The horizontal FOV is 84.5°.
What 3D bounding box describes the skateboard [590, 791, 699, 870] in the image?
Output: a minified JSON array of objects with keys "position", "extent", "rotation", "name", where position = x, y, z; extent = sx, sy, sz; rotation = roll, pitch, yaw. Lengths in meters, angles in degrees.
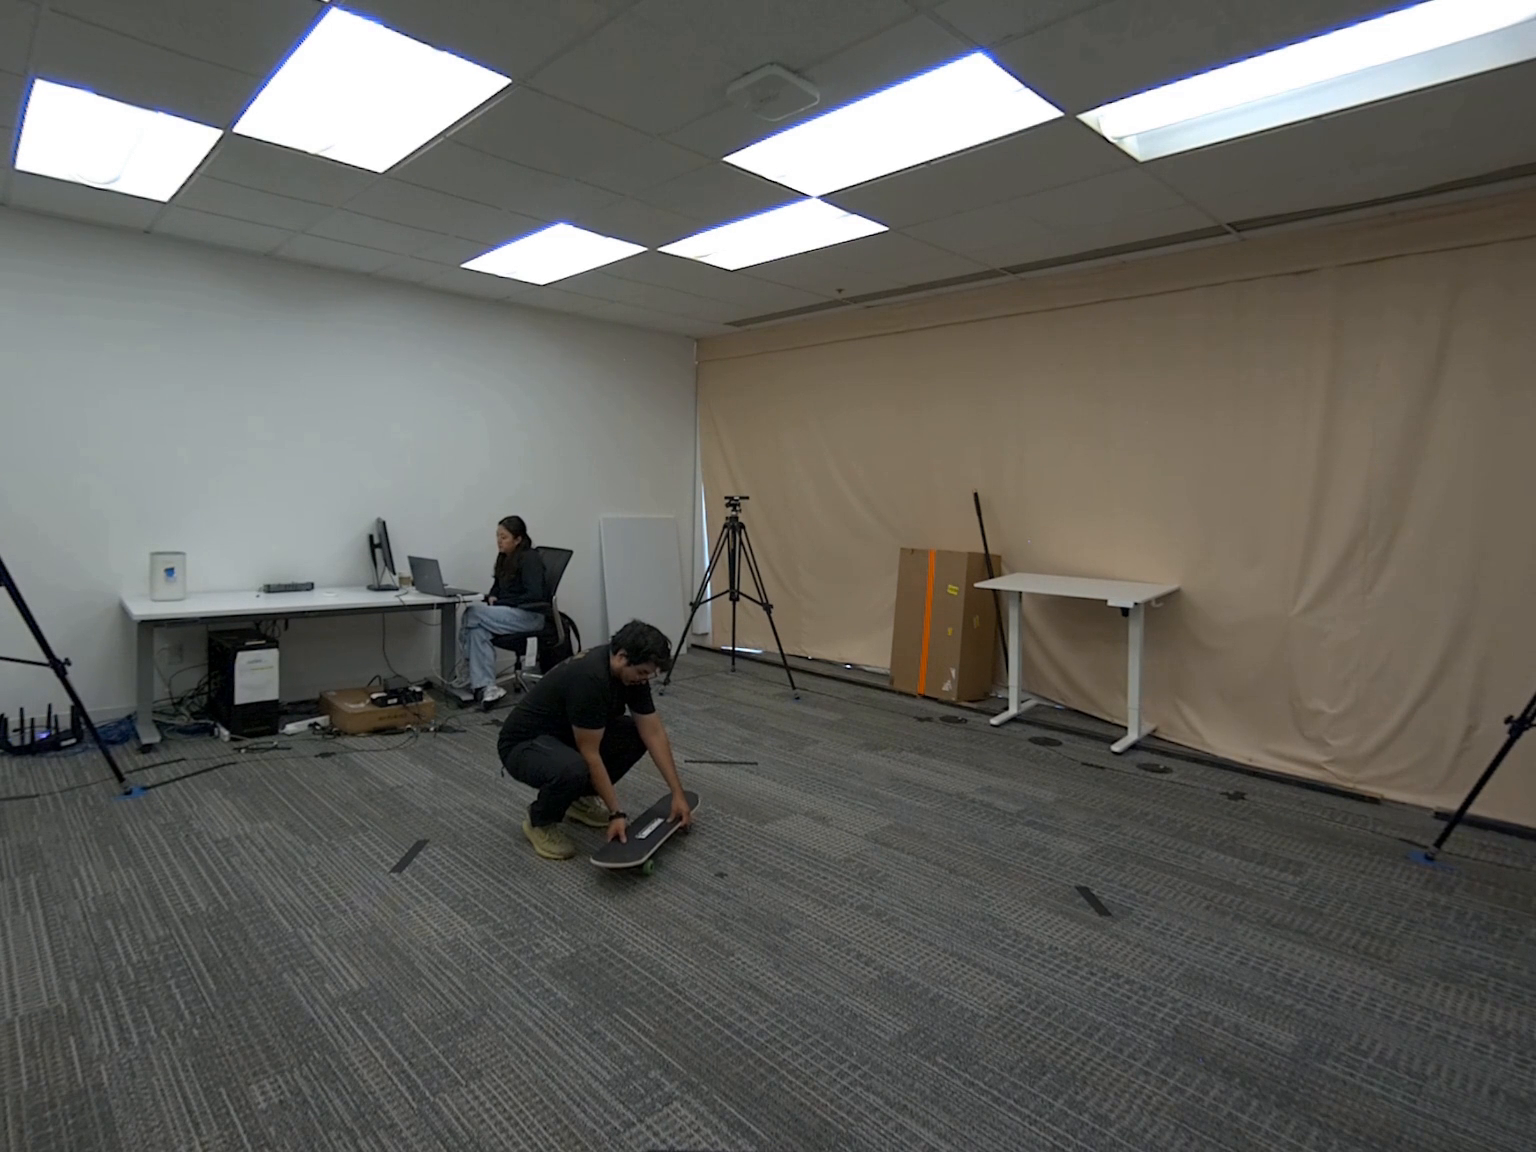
[{"position":[-0.464,1.018,3.288],"extent":[0.196,0.110,0.778],"rotation":[0,5,14],"name":"skateboard"}]
